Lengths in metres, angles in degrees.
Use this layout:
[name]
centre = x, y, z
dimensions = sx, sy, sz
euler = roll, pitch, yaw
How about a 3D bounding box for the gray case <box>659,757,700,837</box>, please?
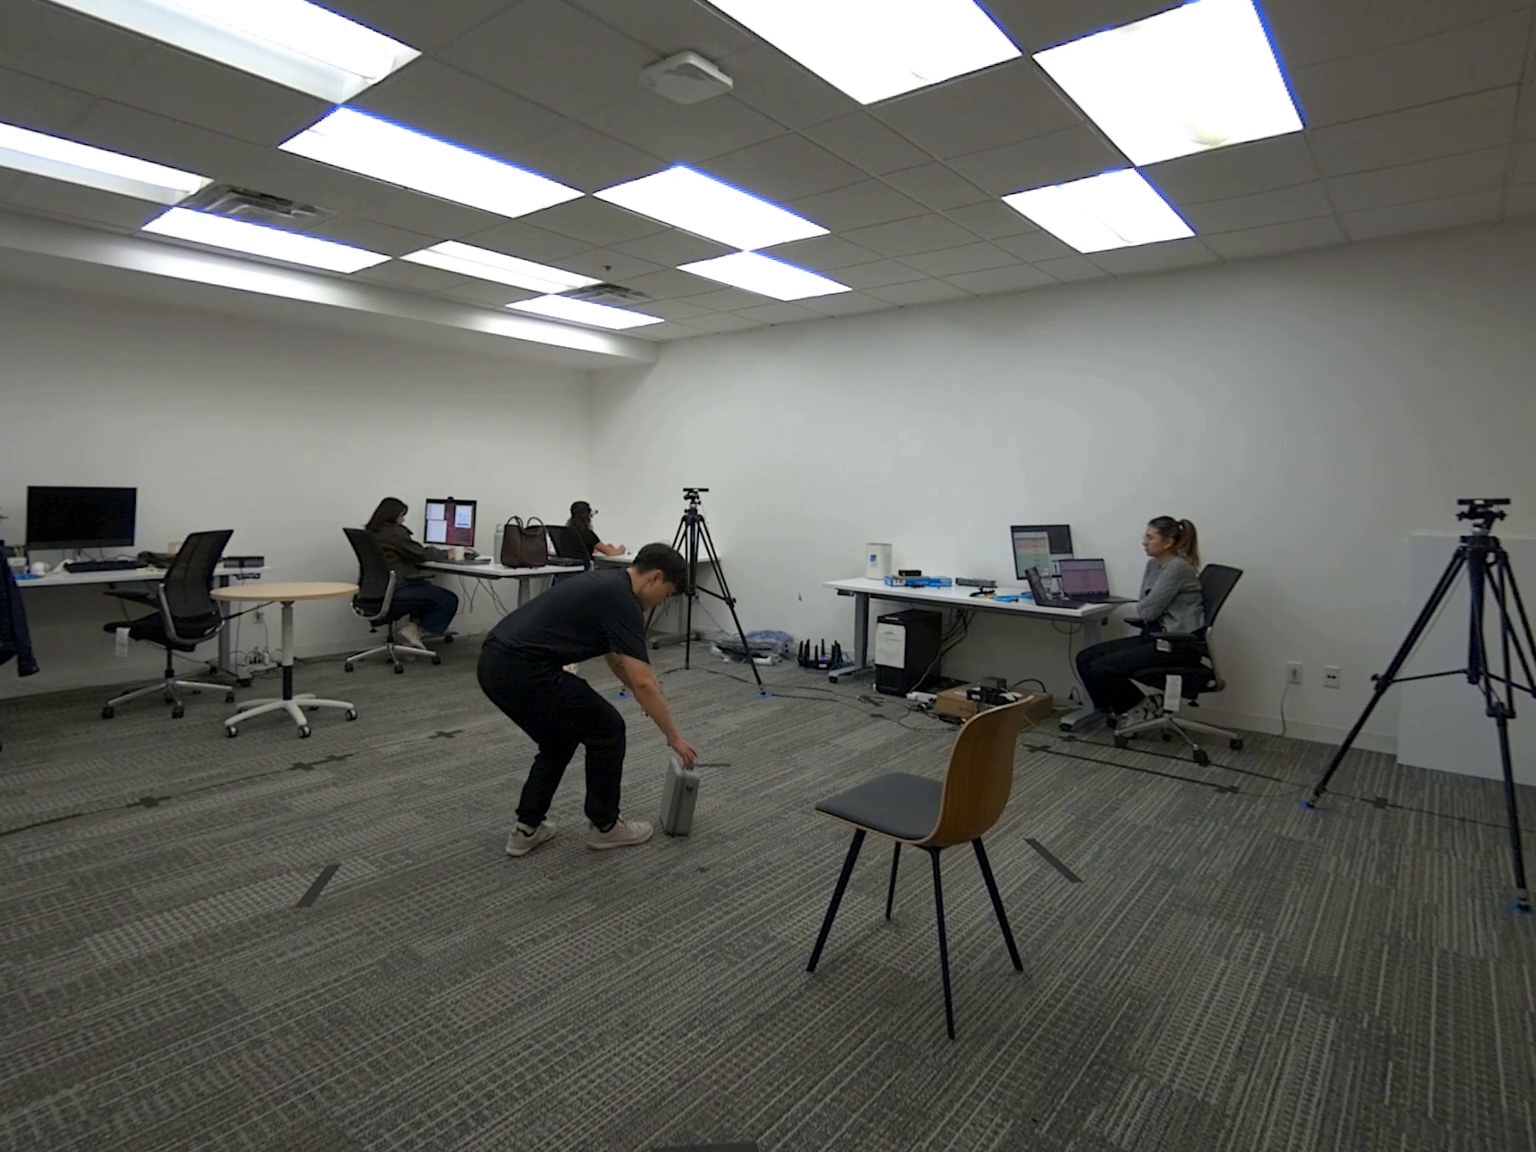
[gray case]
centre = -0.375, 0.896, 3.509
dimensions = 0.103, 0.260, 0.261
euler = 11, 3, -14
